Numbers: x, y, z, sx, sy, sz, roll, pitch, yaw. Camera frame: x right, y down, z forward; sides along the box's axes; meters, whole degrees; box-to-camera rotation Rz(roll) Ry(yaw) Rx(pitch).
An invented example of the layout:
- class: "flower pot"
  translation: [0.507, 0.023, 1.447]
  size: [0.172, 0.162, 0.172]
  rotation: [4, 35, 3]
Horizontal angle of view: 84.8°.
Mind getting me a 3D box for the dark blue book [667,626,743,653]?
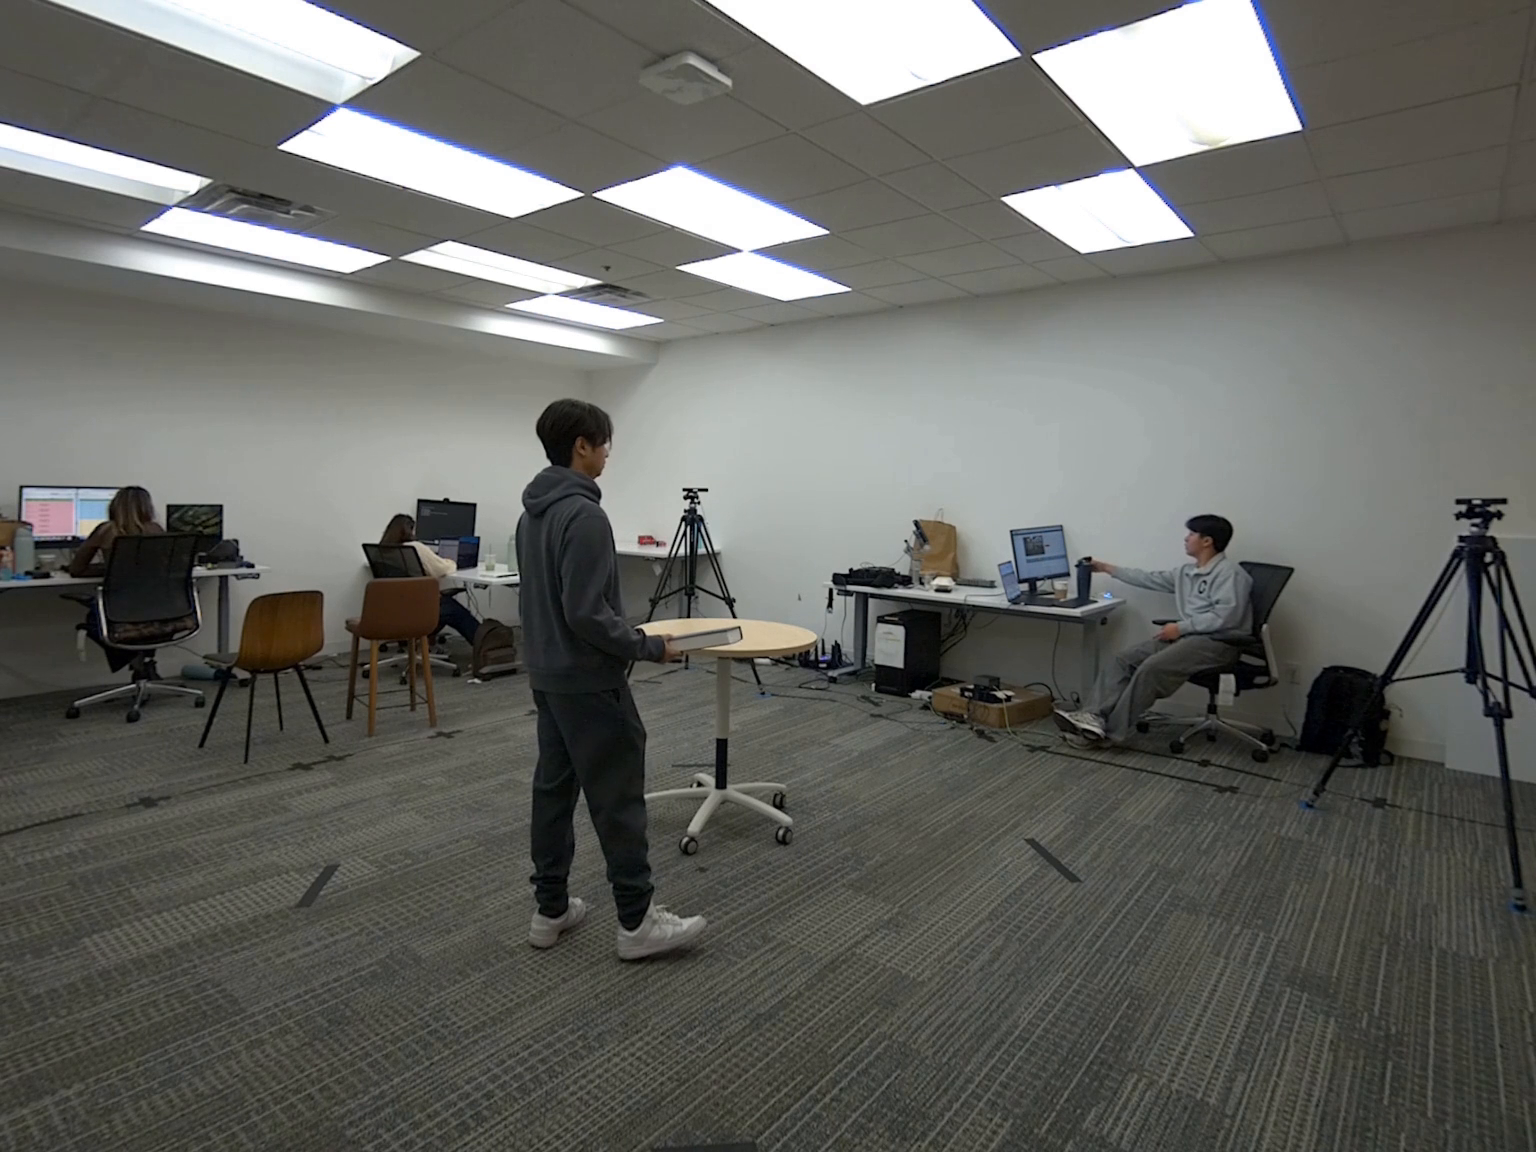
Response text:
- class: "dark blue book"
  translation: [-0.221, 0.206, 2.629]
  size: [0.248, 0.045, 0.161]
  rotation: [-9, 0, 11]
